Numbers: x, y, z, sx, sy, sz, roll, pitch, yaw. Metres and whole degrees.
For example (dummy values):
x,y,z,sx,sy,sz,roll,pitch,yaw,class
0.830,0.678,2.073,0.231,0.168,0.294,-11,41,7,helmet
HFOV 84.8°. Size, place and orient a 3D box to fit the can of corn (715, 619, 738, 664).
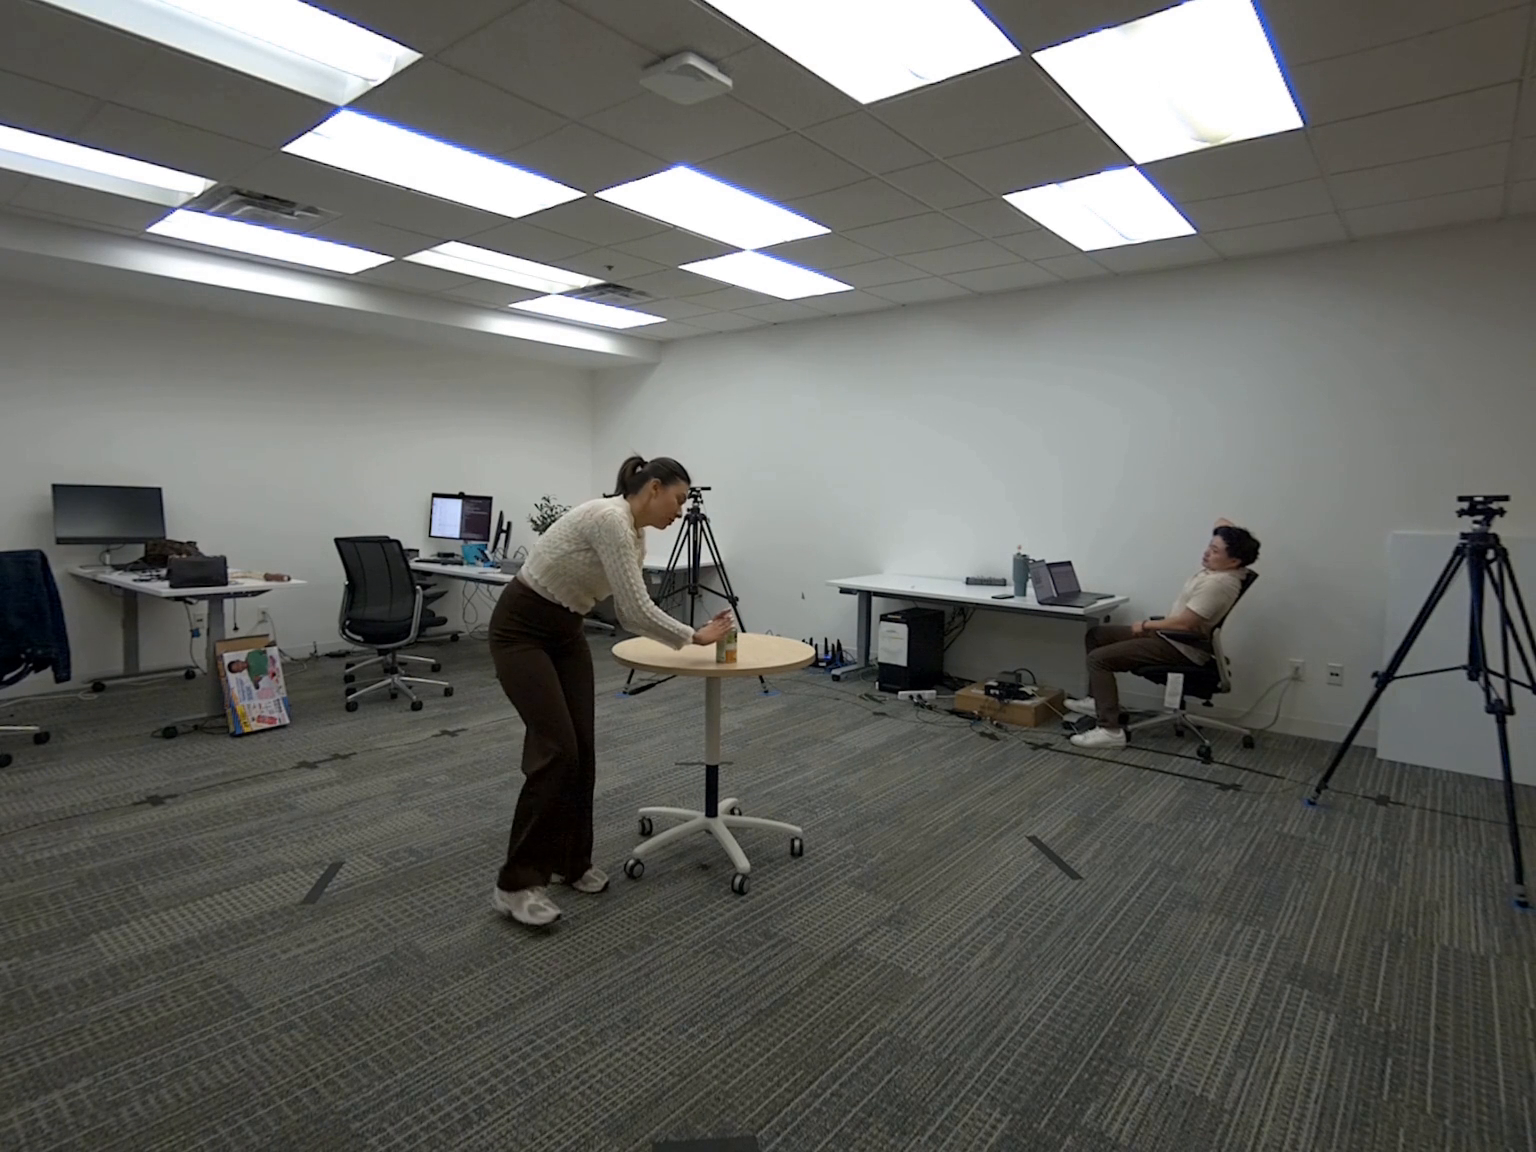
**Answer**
x,y,z,sx,sy,sz,roll,pitch,yaw,class
-0.160,0.243,2.967,0.074,0.111,0.074,-3,3,-2,can of corn
